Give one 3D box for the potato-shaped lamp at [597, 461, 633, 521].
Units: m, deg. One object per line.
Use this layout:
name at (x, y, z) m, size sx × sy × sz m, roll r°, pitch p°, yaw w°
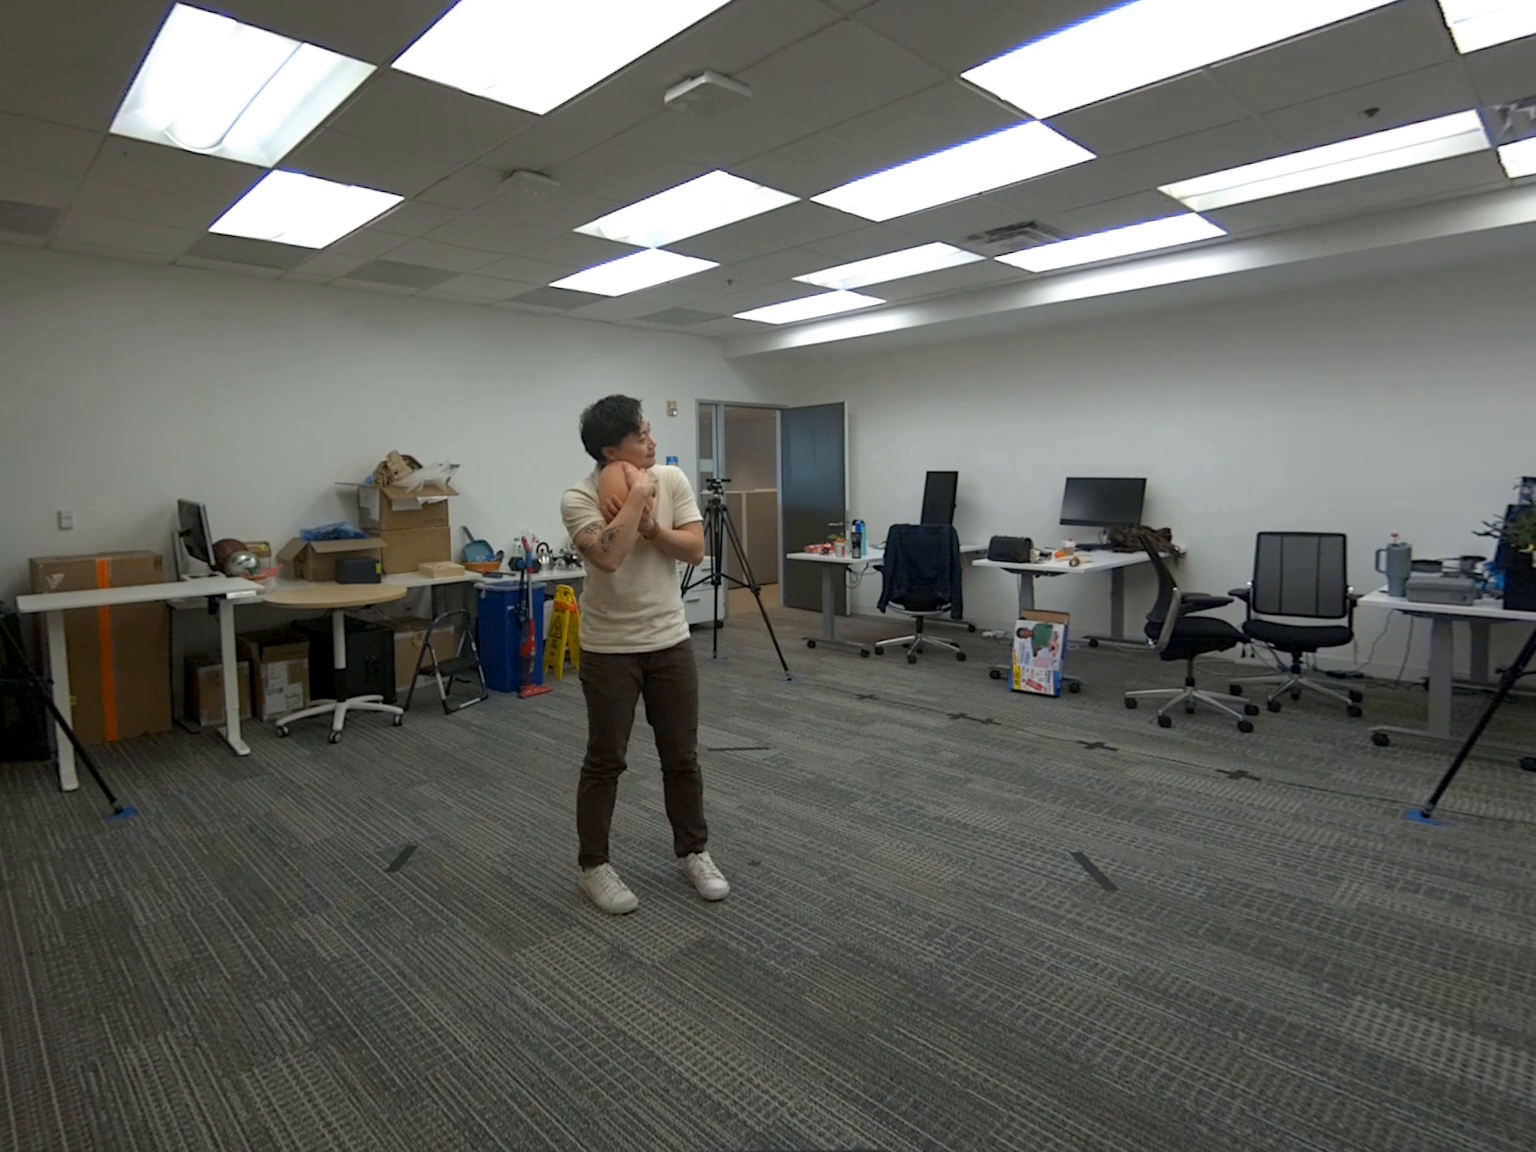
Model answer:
potato-shaped lamp at (-0.469, -0.262, 2.721) m, size 0.162 × 0.203 × 0.170 m, roll -14°, pitch -21°, yaw -19°
